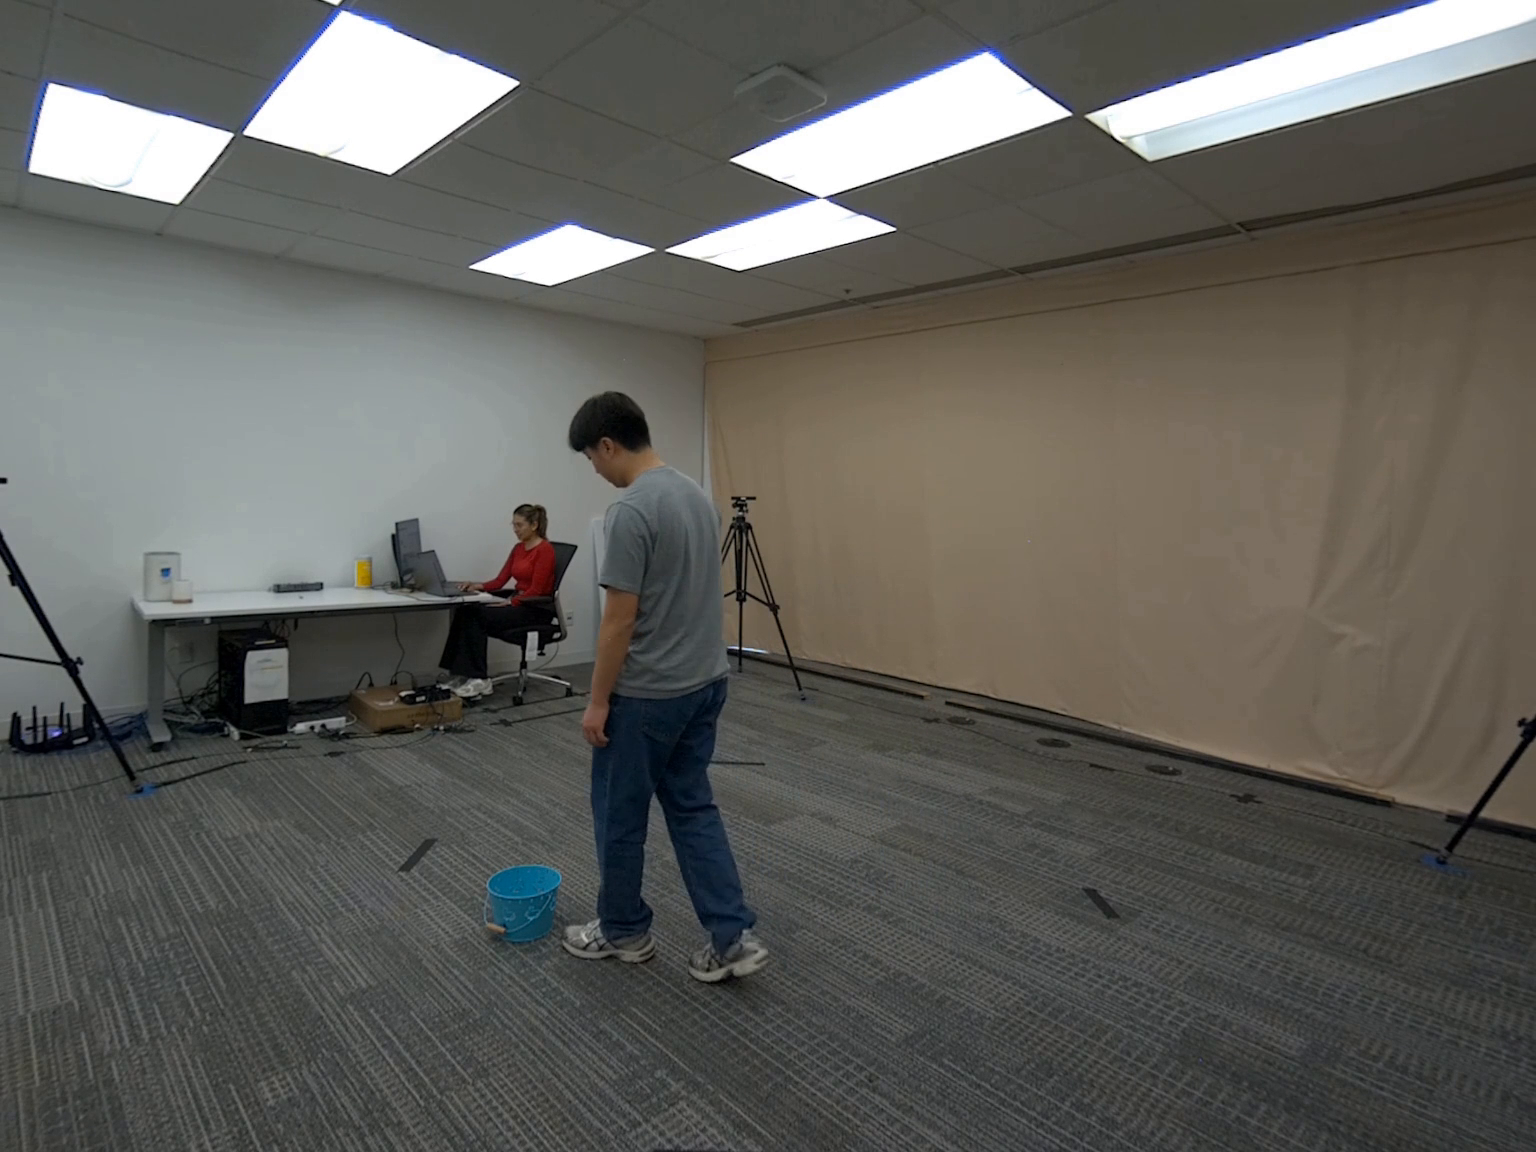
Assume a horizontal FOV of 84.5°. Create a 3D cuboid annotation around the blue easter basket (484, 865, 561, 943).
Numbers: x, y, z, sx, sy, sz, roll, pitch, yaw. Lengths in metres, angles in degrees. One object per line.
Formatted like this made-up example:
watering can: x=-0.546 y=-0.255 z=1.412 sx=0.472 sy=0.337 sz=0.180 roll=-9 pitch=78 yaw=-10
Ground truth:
blue easter basket: x=-0.790 y=1.052 z=2.694 sx=0.243 sy=0.155 sz=0.244 roll=2 pitch=5 yaw=-2
